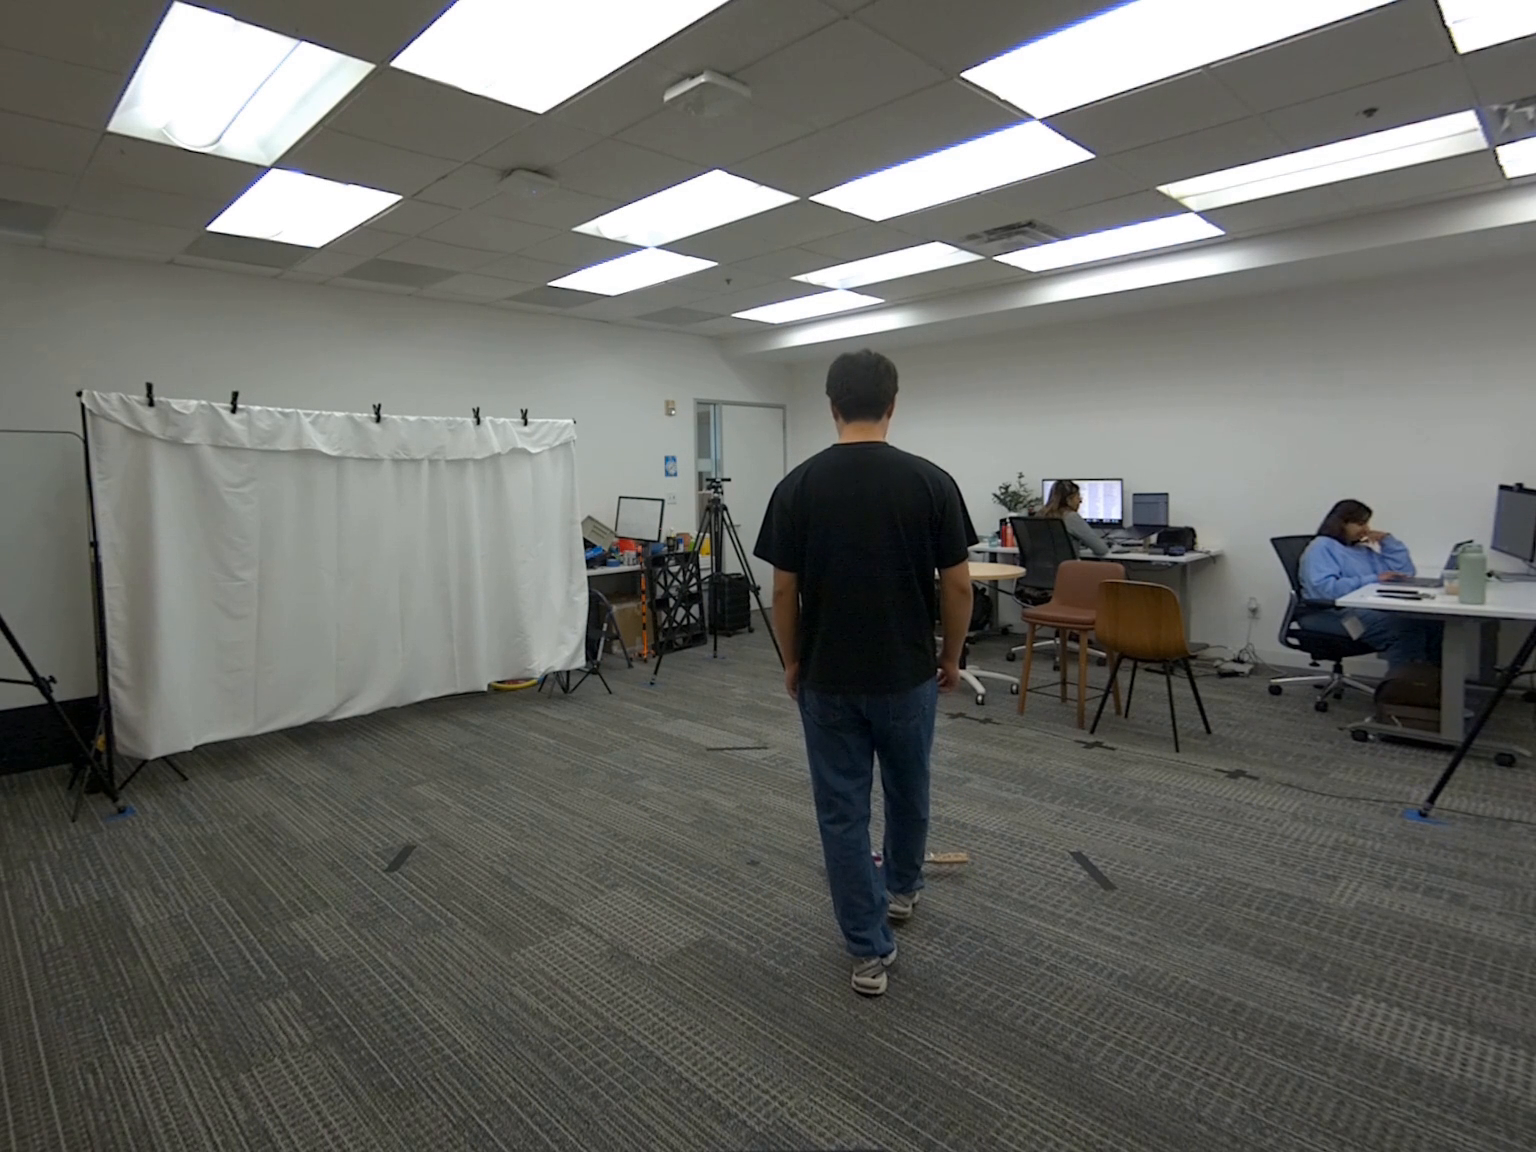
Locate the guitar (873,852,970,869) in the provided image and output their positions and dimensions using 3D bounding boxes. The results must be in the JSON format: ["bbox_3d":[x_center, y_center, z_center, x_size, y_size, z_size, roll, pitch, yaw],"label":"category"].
[{"bbox_3d":[0.462,1.015,2.960,0.502,0.070,0.192,-1,6,8],"label":"guitar"}]
